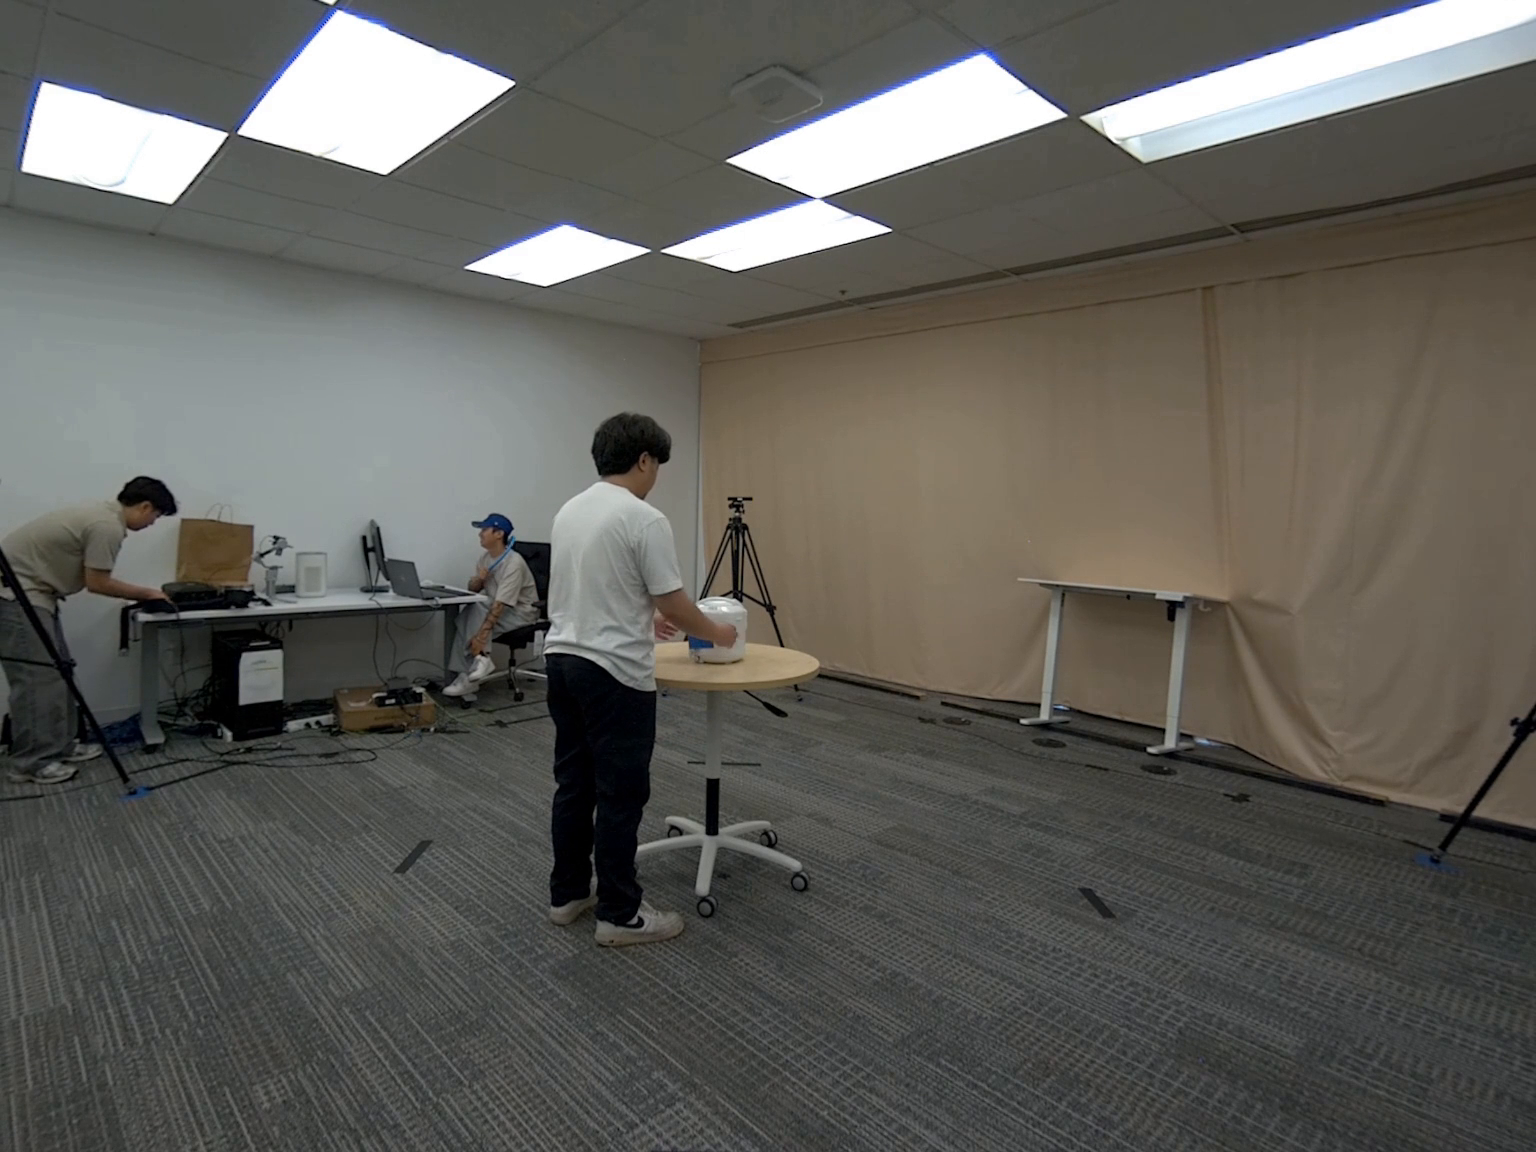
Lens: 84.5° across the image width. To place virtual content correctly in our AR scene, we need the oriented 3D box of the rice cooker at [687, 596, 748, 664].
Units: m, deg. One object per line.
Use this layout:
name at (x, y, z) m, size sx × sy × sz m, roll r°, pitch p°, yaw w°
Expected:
rice cooker at (-0.192, 0.192, 3.106) m, size 0.221 × 0.232 × 0.217 m, roll 3°, pitch 4°, yaw 5°
